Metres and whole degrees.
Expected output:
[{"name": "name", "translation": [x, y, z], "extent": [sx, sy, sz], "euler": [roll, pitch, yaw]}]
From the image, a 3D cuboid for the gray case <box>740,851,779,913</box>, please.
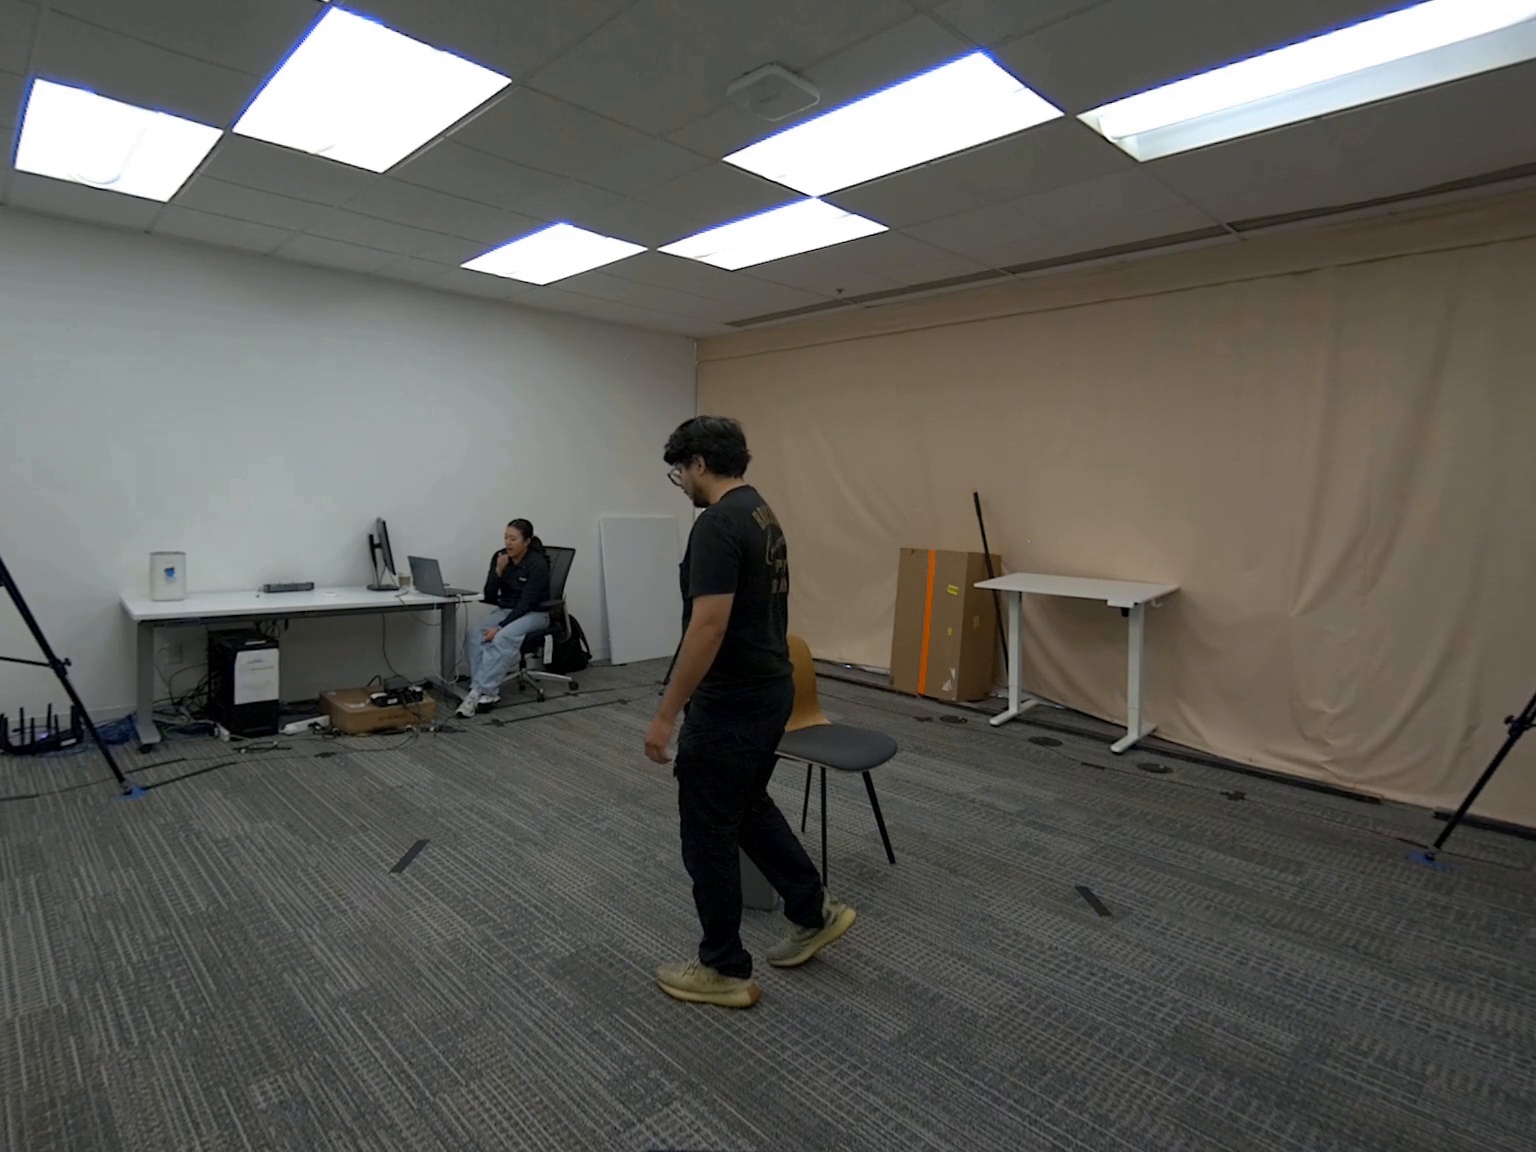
[{"name": "gray case", "translation": [-0.087, 0.995, 2.879], "extent": [0.260, 0.258, 0.104], "euler": [1, 12, 16]}]
